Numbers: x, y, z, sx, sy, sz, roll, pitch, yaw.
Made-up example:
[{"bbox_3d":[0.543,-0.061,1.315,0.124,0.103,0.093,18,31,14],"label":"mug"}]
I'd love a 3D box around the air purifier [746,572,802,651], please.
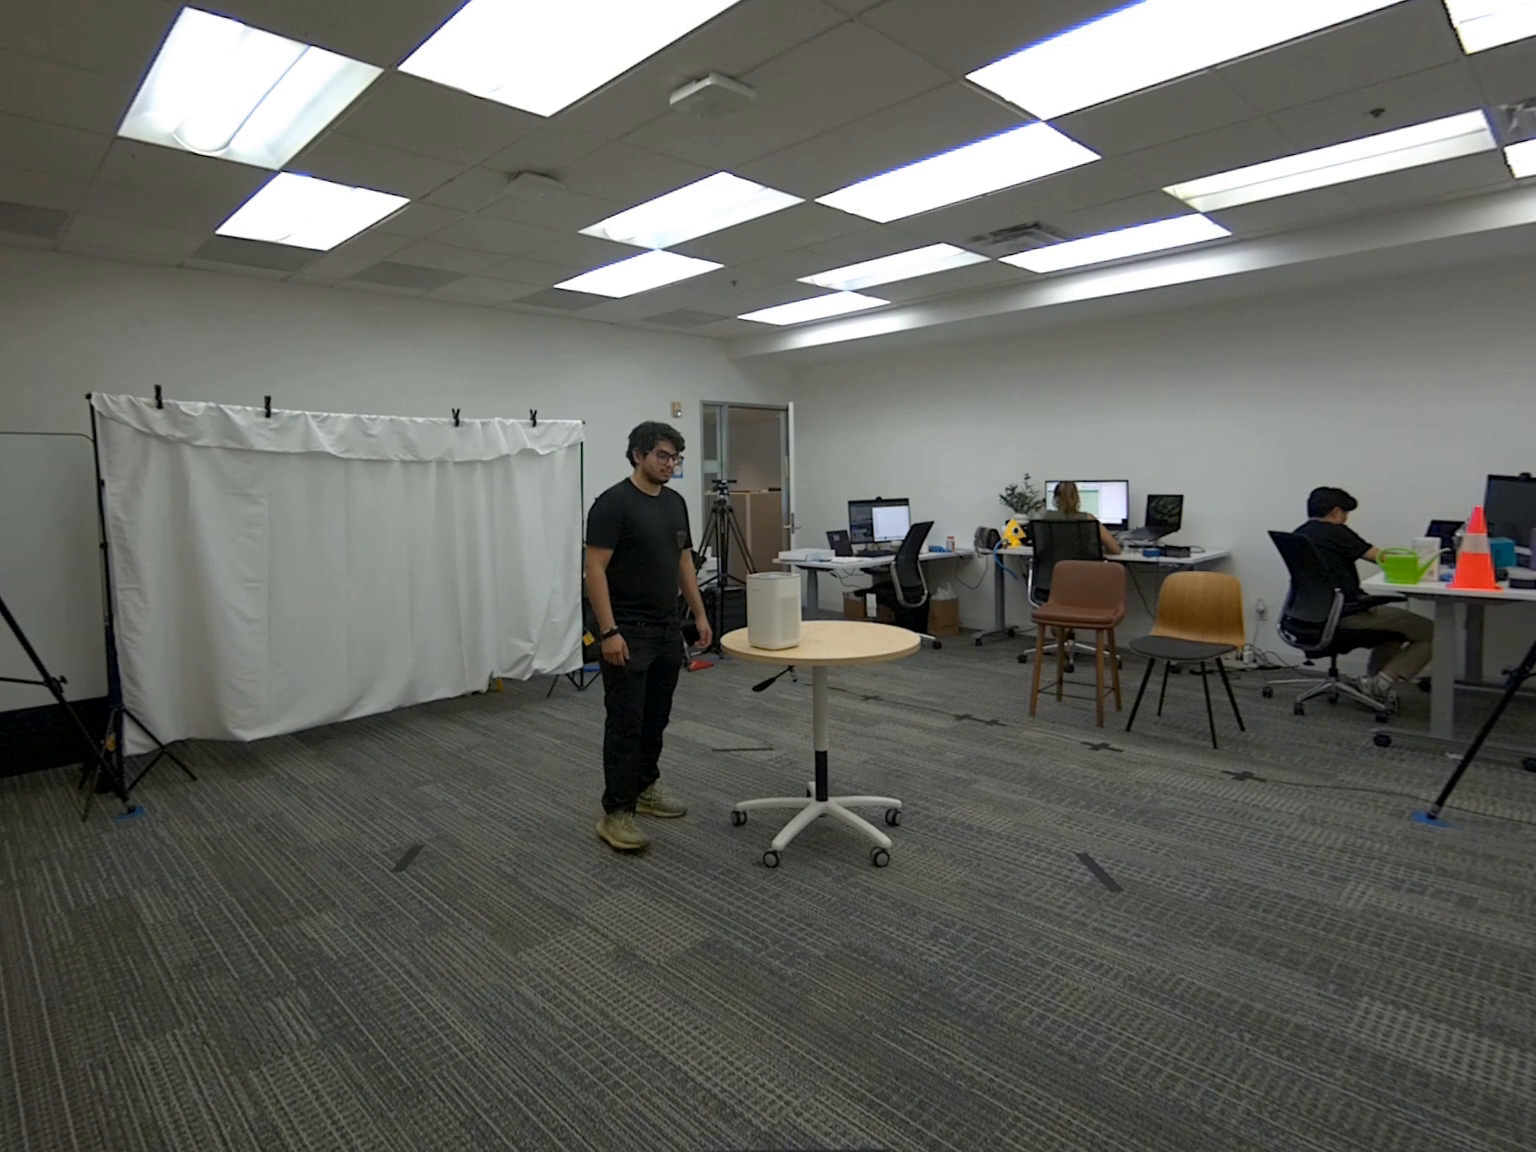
[{"bbox_3d":[0.026,0.127,3.155,0.167,0.264,0.176,-7,7,-41],"label":"air purifier"}]
